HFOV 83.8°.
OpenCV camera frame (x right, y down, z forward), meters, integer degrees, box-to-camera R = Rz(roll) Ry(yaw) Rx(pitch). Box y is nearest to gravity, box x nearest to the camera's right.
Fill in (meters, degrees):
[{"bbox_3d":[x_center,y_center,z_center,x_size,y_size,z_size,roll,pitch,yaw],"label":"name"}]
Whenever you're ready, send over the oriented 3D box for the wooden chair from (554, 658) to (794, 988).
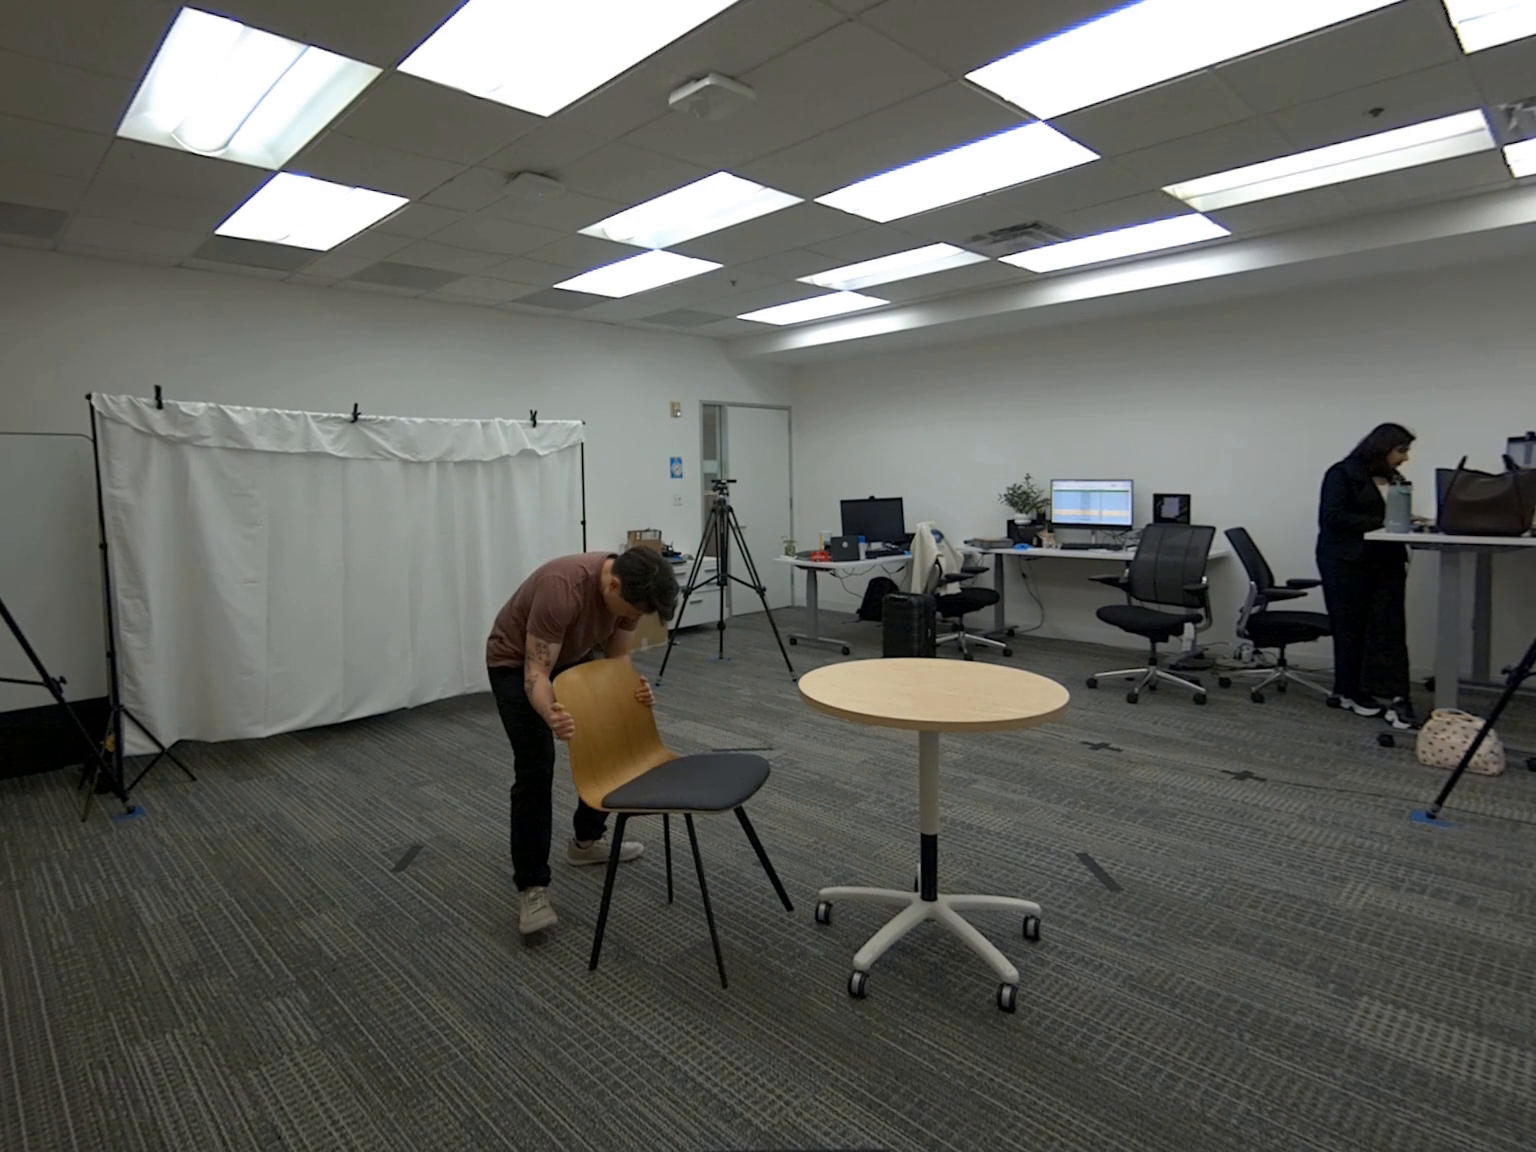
[{"bbox_3d":[-0.267,0.660,2.539,0.533,0.879,0.468,-13,-2,28],"label":"wooden chair"}]
